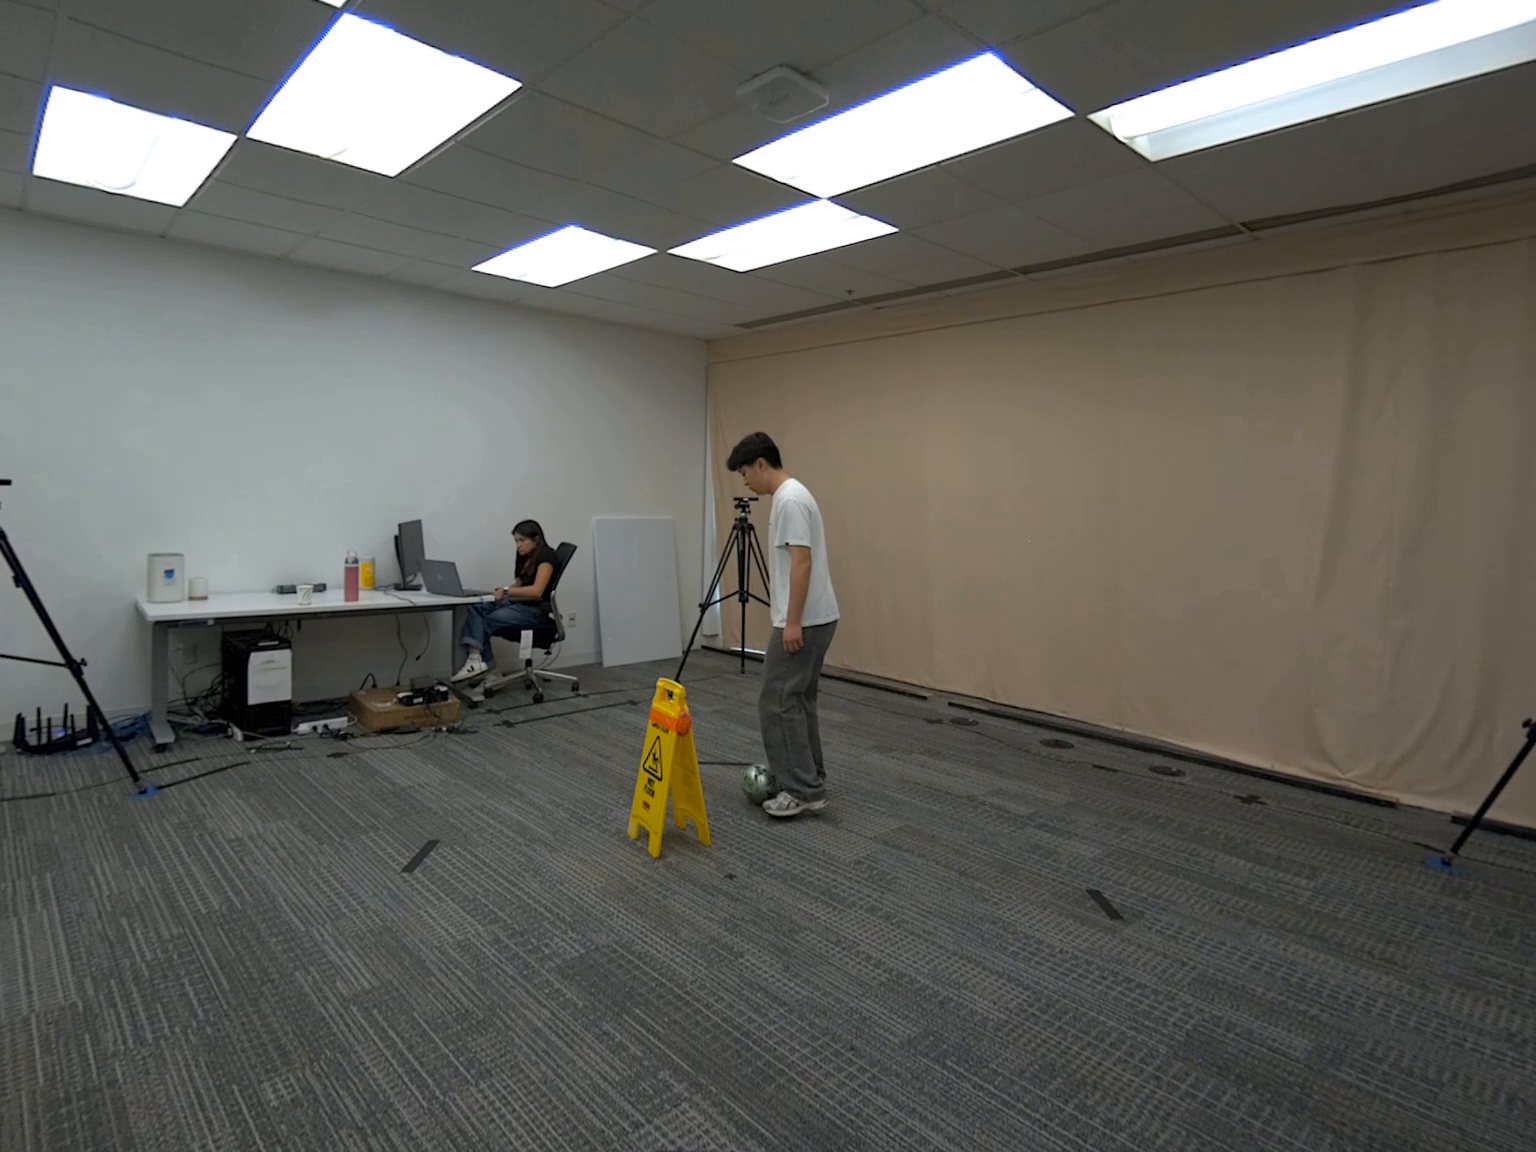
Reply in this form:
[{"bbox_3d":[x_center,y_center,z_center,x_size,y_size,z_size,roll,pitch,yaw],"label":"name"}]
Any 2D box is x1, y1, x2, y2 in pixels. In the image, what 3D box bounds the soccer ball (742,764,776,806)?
[{"bbox_3d":[-0.039,0.950,3.868,0.187,0.187,0.188,1,4,-1],"label":"soccer ball"}]
